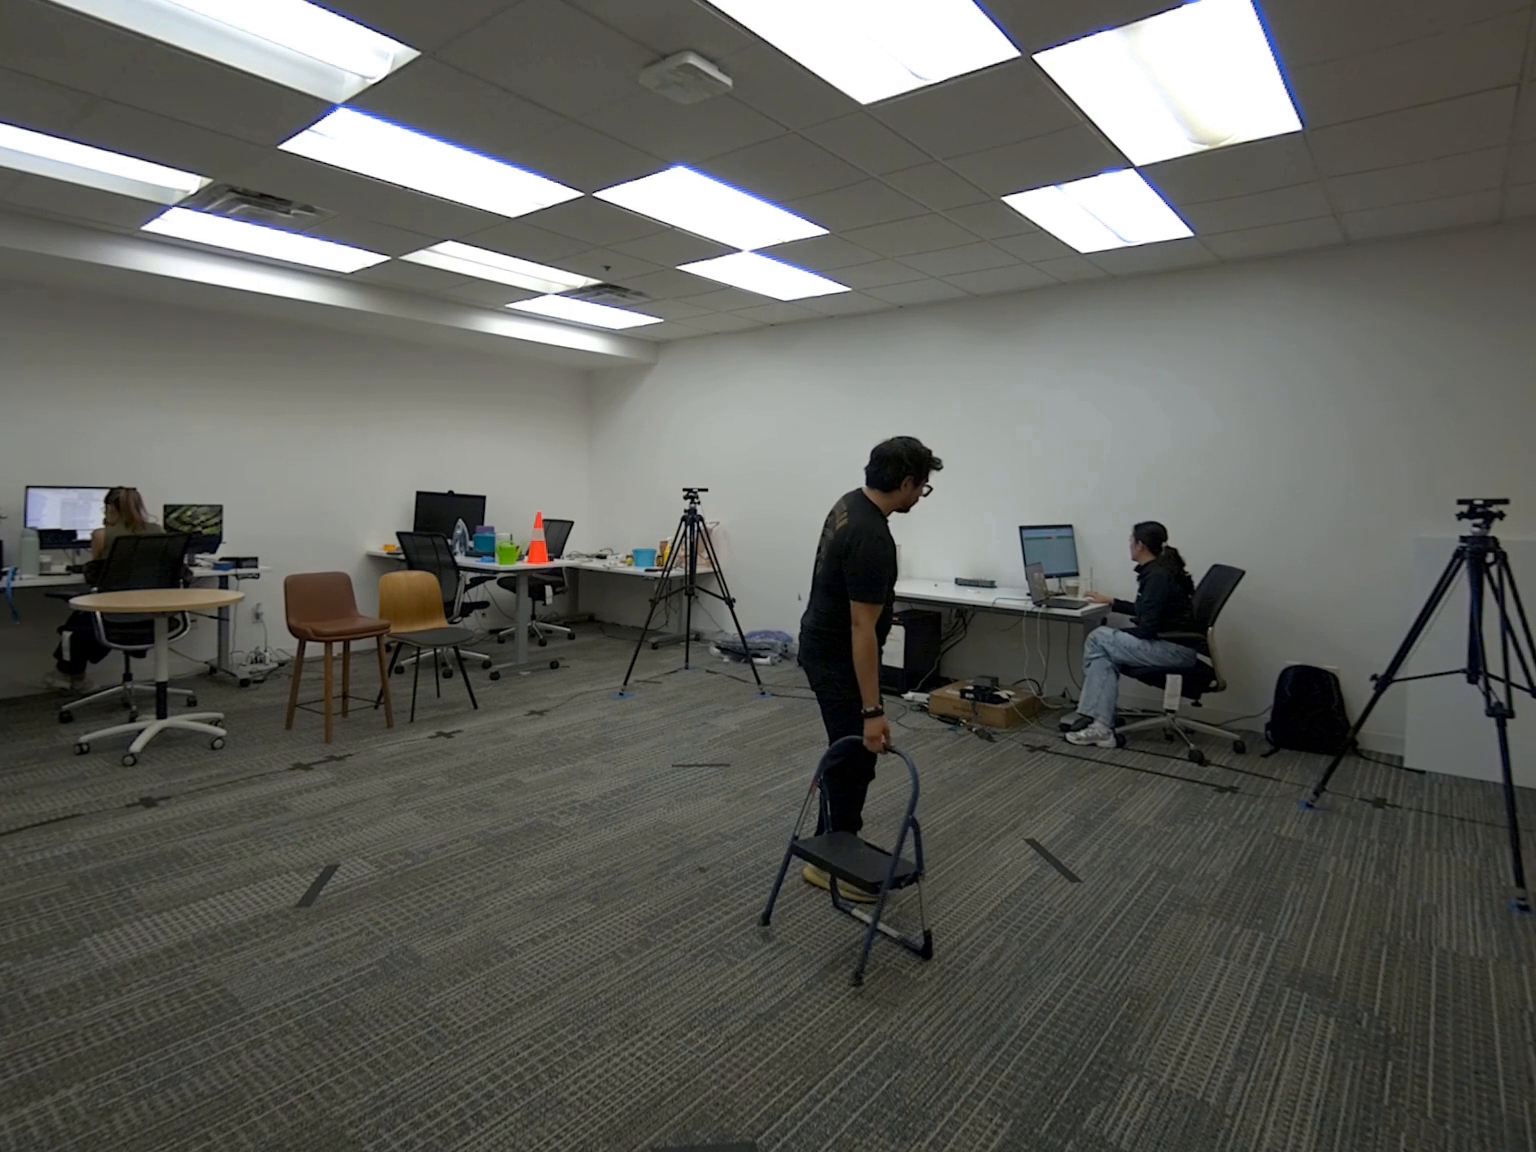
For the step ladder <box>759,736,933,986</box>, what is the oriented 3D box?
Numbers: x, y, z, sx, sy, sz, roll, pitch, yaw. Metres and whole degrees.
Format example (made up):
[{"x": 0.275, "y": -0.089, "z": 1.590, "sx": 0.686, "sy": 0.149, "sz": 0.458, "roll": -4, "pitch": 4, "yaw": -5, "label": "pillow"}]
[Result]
[{"x": 0.250, "y": 0.814, "z": 2.611, "sx": 0.338, "sy": 0.606, "sz": 0.445, "roll": 5, "pitch": 0, "yaw": -38, "label": "step ladder"}]
